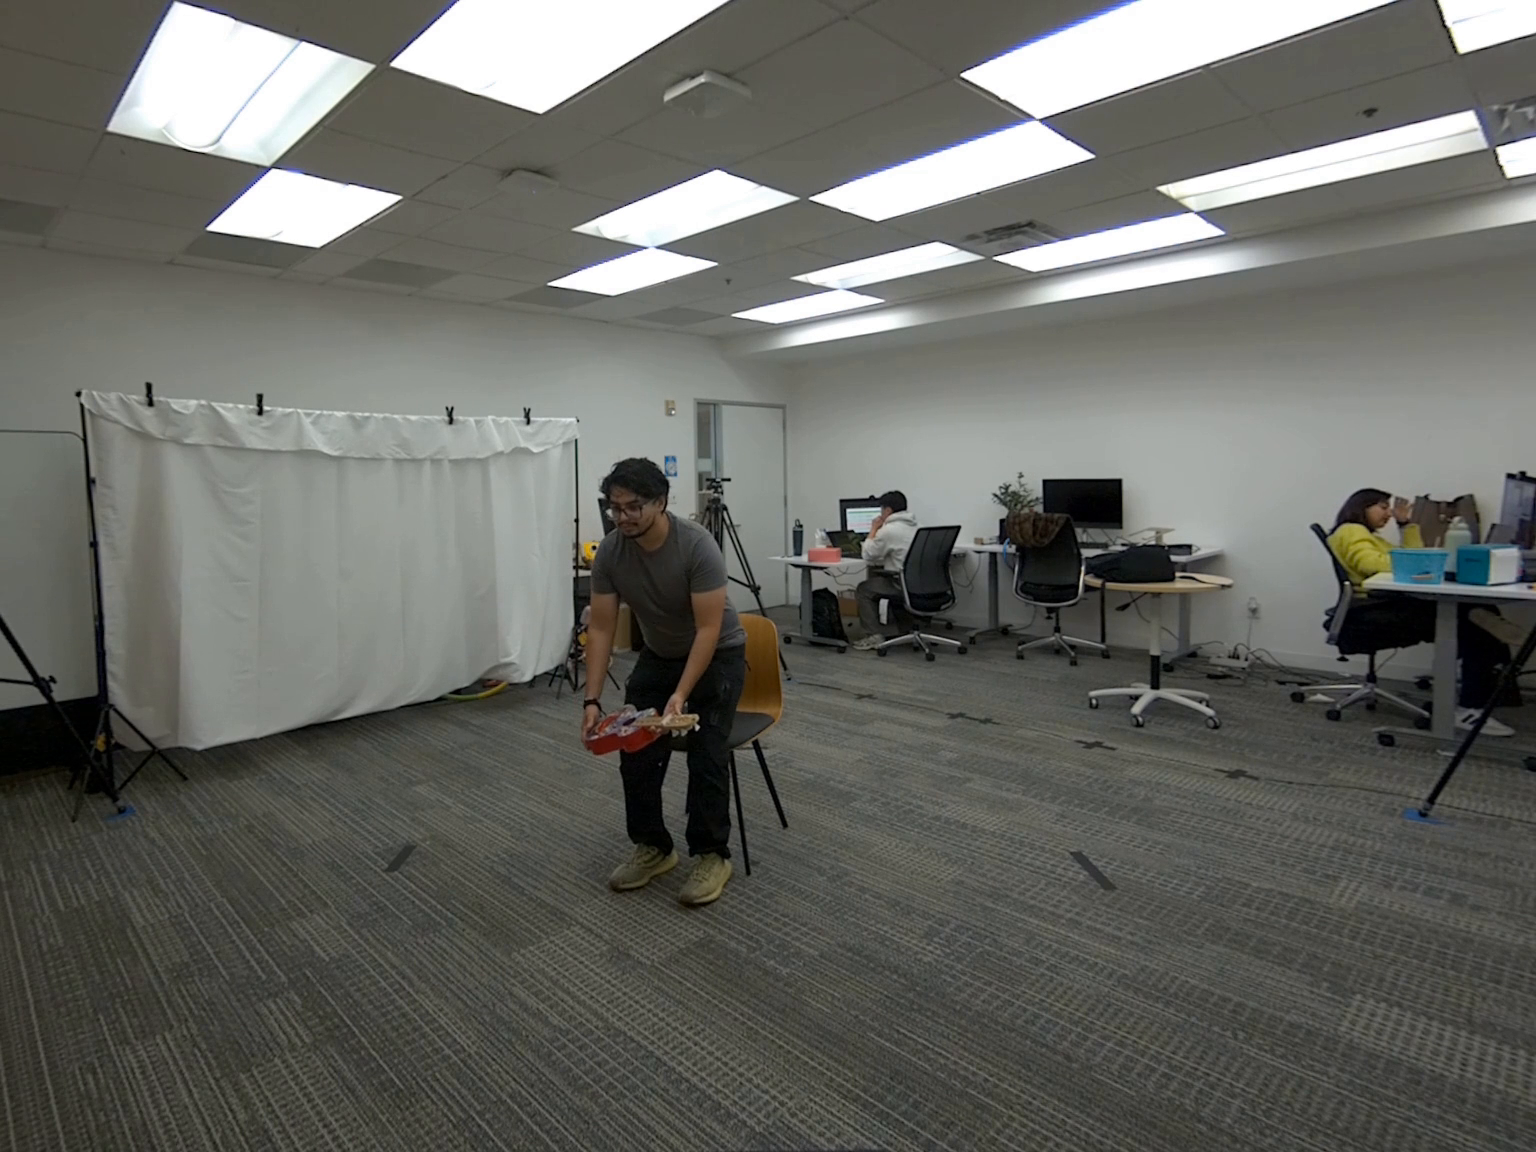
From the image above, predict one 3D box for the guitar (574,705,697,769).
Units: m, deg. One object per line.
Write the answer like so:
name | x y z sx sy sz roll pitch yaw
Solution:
guitar | -0.403 0.493 2.600 0.191 0.070 0.509 -34 15 -30
